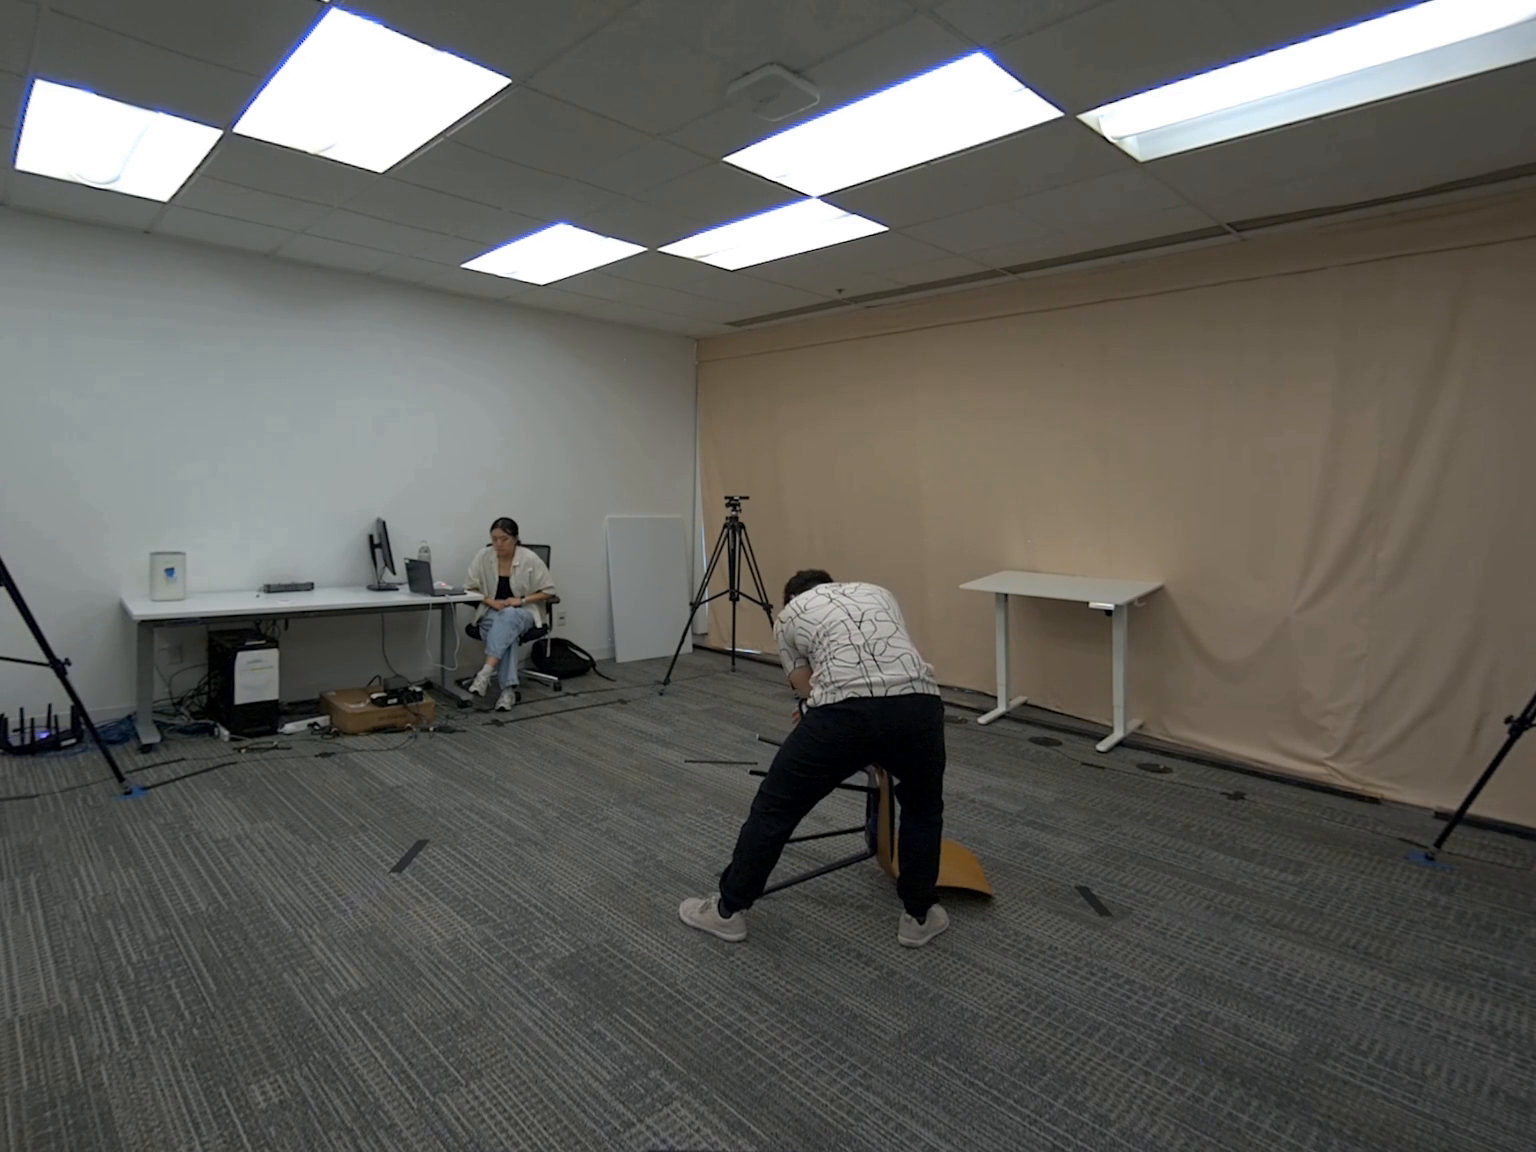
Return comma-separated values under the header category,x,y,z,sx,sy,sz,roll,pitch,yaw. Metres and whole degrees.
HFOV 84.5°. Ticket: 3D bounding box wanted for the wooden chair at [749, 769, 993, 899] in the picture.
category,x,y,z,sx,sy,sz,roll,pitch,yaw
wooden chair,0.378,0.861,3.085,0.881,0.522,0.477,3,3,5
